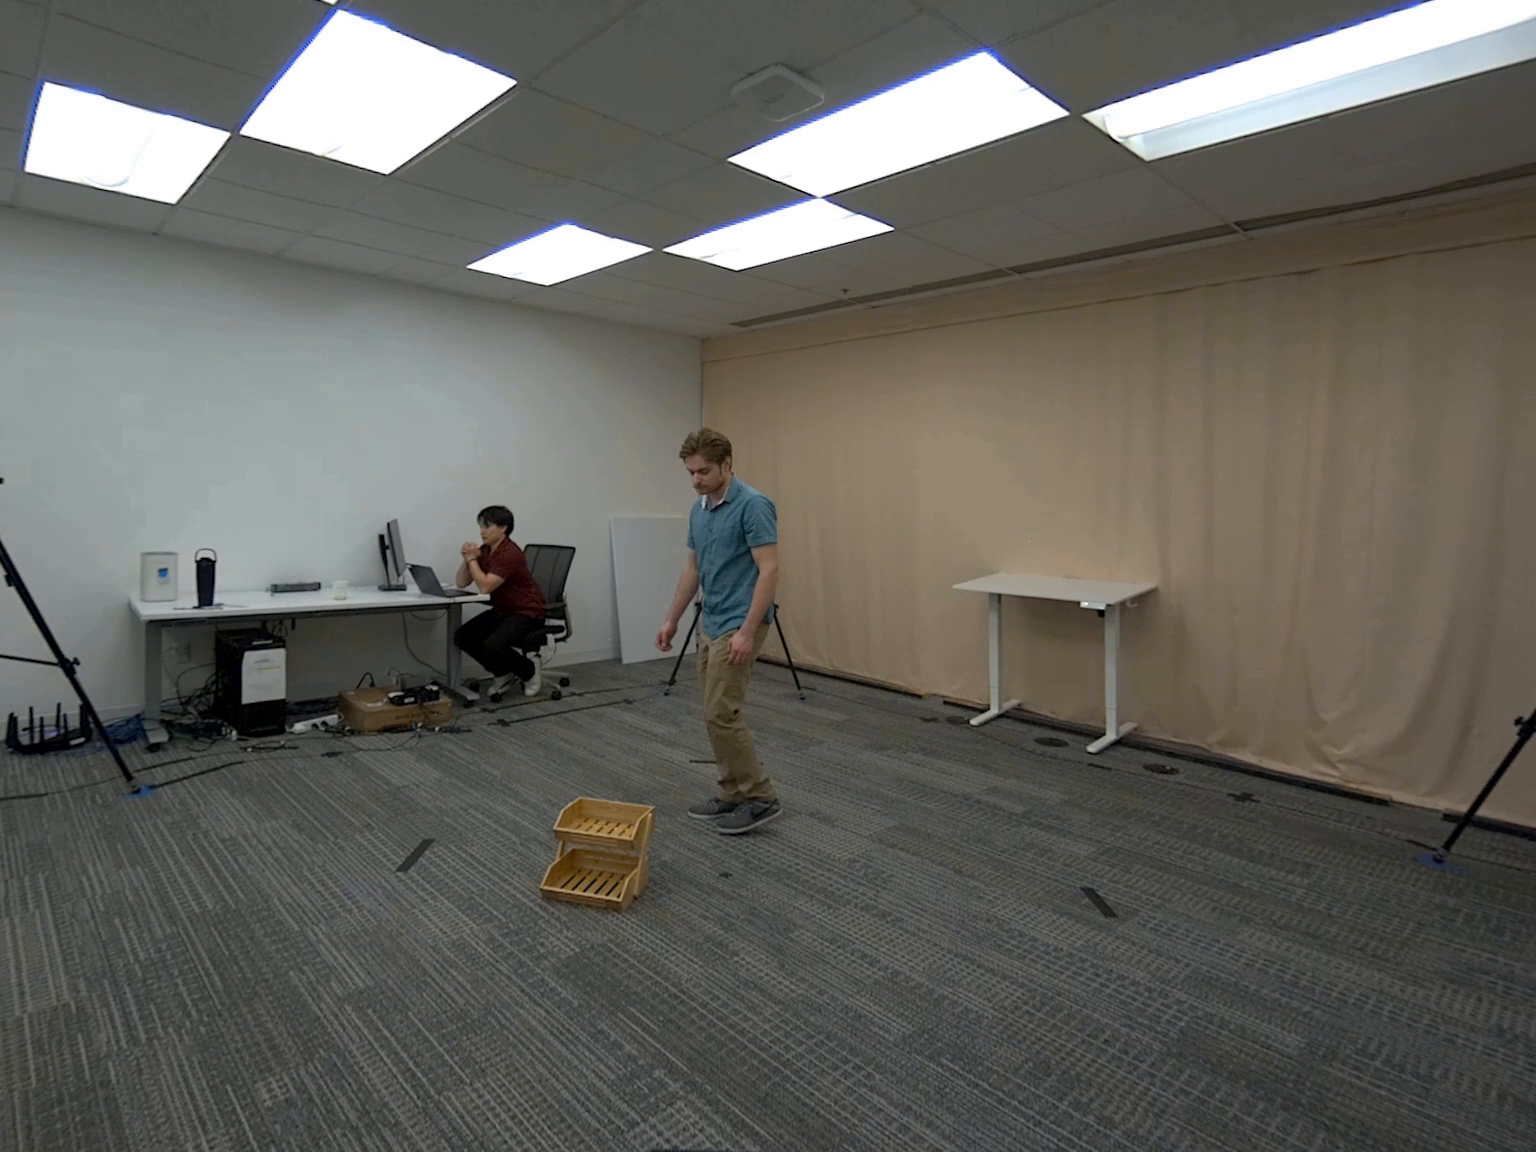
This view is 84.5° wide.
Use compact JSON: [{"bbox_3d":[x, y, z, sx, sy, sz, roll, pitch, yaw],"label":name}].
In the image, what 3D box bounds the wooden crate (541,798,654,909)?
[{"bbox_3d":[-0.605,0.976,2.963,0.328,0.272,0.299,3,4,14],"label":"wooden crate"}]
